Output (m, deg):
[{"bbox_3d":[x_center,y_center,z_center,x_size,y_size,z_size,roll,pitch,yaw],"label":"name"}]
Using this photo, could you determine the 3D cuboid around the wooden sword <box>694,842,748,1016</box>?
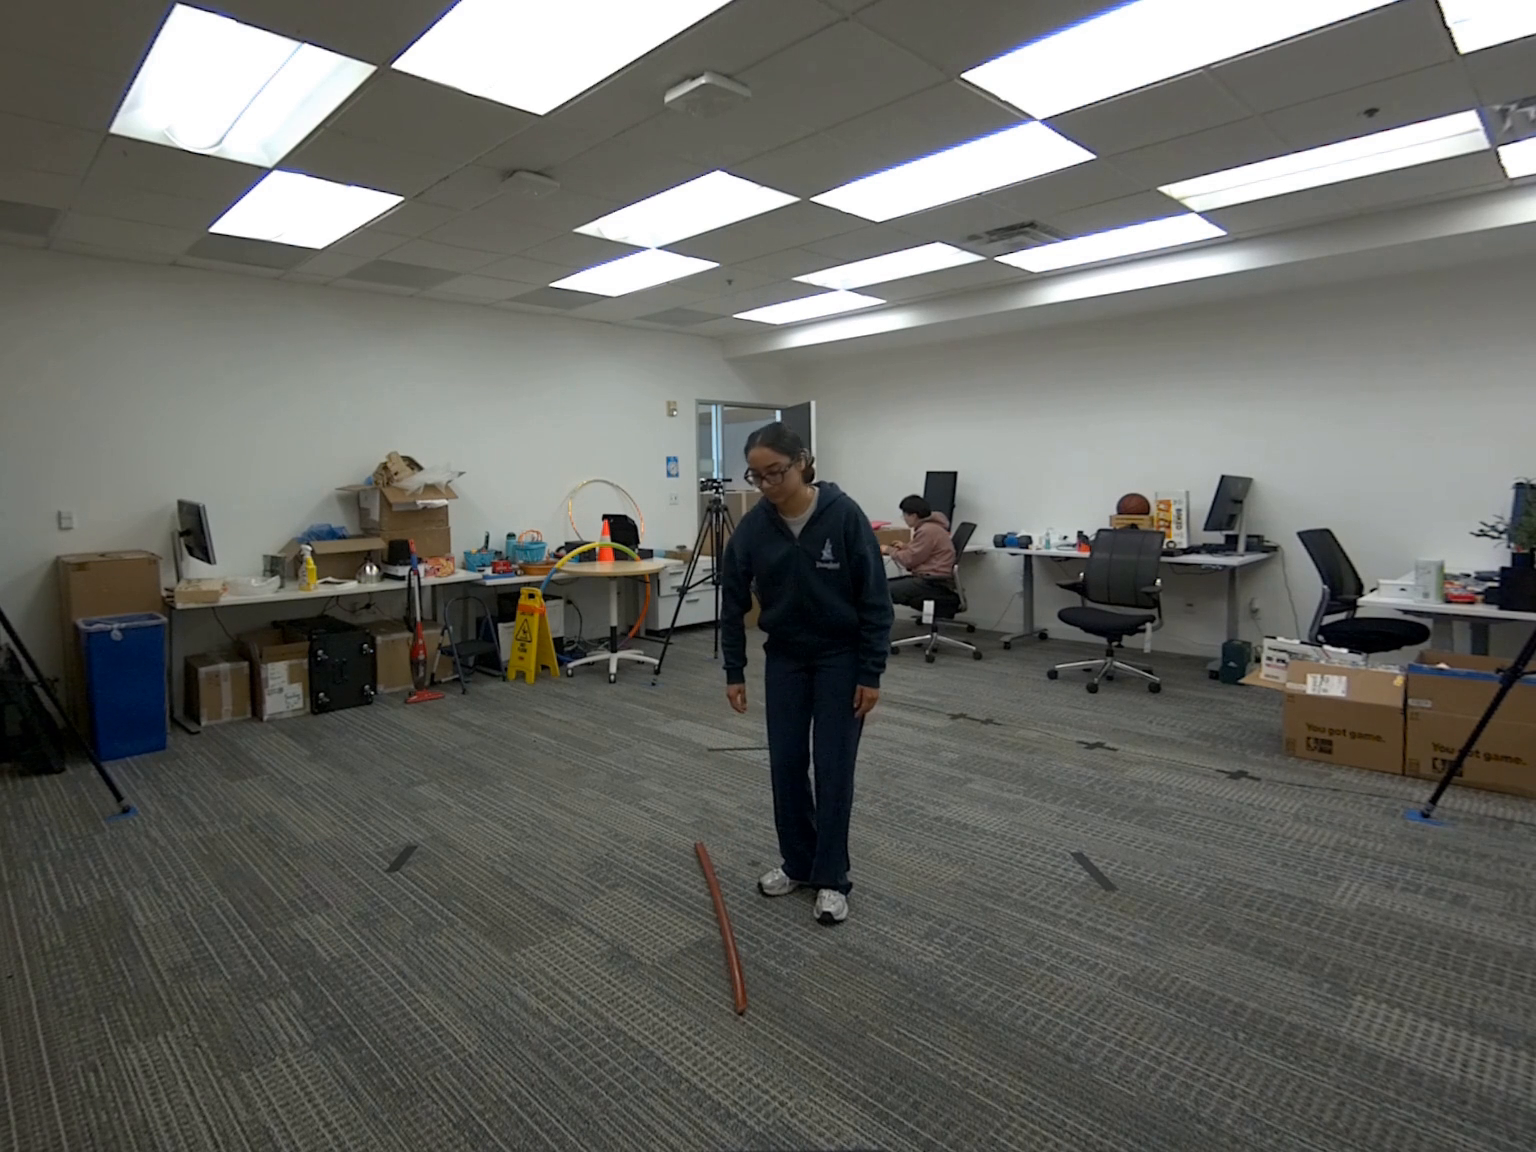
[{"bbox_3d":[-0.154,1.072,2.734,0.051,0.024,1.038,-2,7,-10],"label":"wooden sword"}]
